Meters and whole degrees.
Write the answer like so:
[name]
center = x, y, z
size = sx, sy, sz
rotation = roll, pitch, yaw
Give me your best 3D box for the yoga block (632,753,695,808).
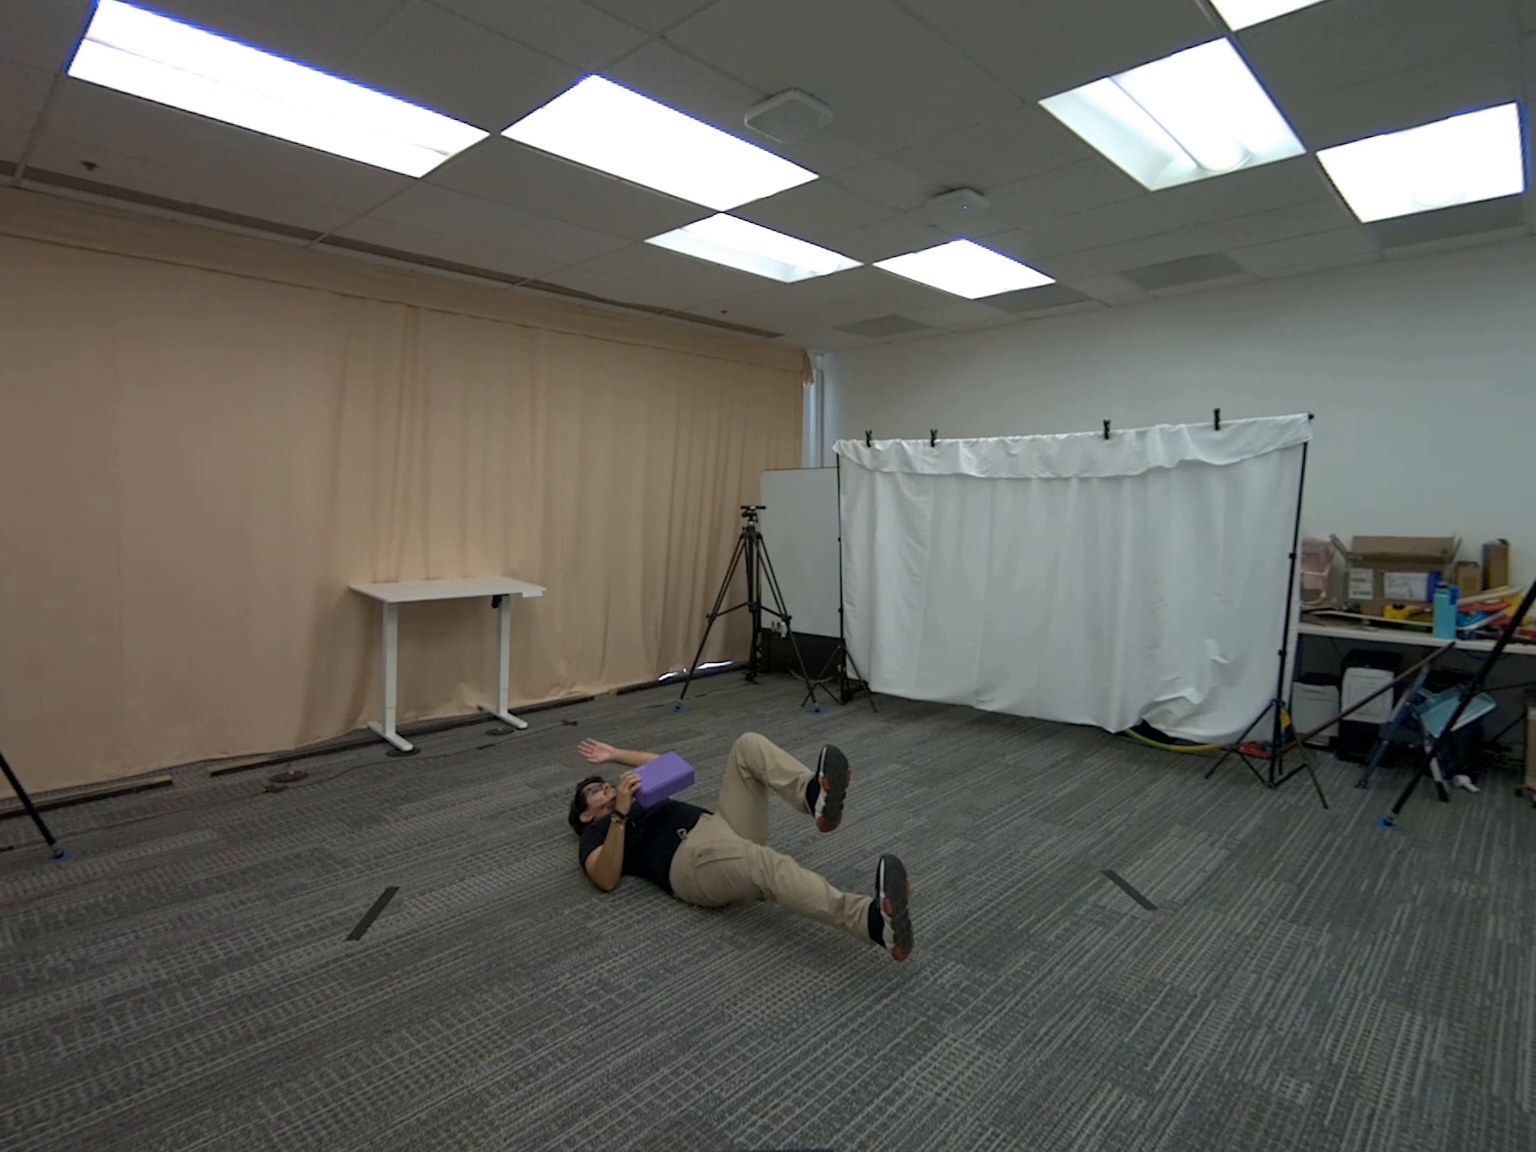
[yoga block]
center = -0.398, 0.759, 3.097
size = 0.224, 0.075, 0.154
rotation = -13, 26, -29
